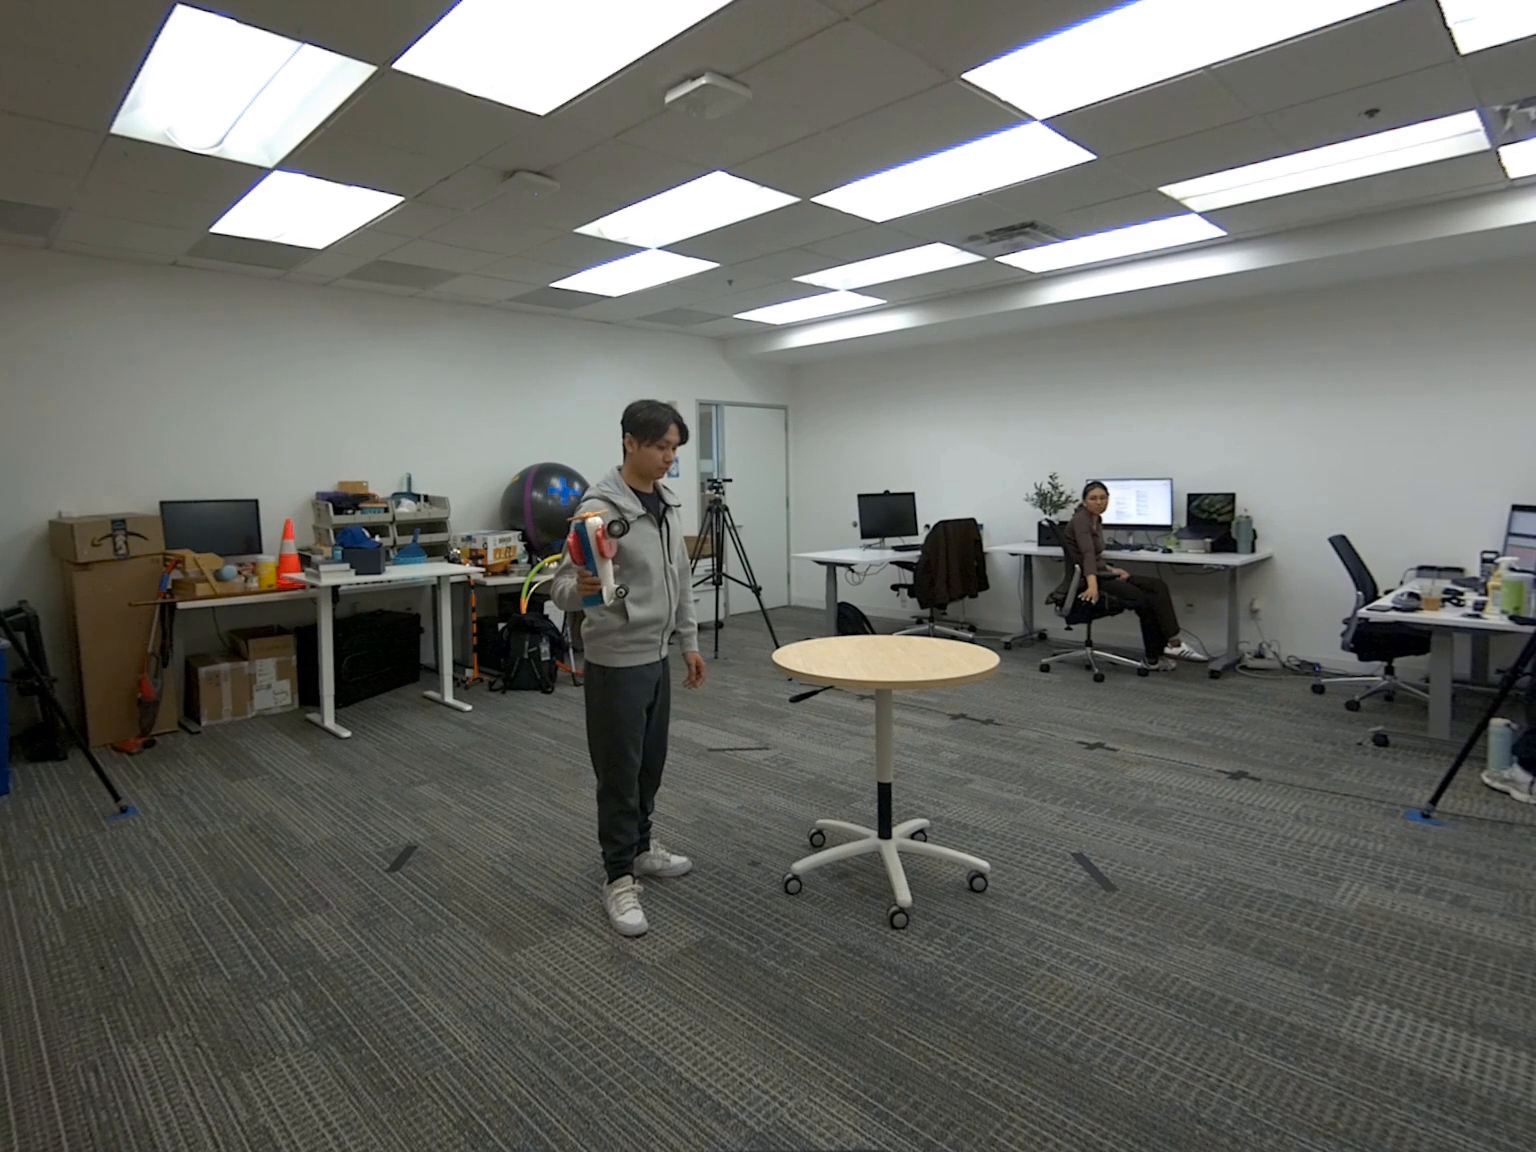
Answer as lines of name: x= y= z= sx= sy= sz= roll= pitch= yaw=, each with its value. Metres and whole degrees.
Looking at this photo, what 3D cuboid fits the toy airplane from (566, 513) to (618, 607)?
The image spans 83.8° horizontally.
toy airplane: x=-0.460 y=-0.050 z=2.336 sx=0.156 sy=0.264 sz=0.246 roll=1 pitch=-24 yaw=-3
